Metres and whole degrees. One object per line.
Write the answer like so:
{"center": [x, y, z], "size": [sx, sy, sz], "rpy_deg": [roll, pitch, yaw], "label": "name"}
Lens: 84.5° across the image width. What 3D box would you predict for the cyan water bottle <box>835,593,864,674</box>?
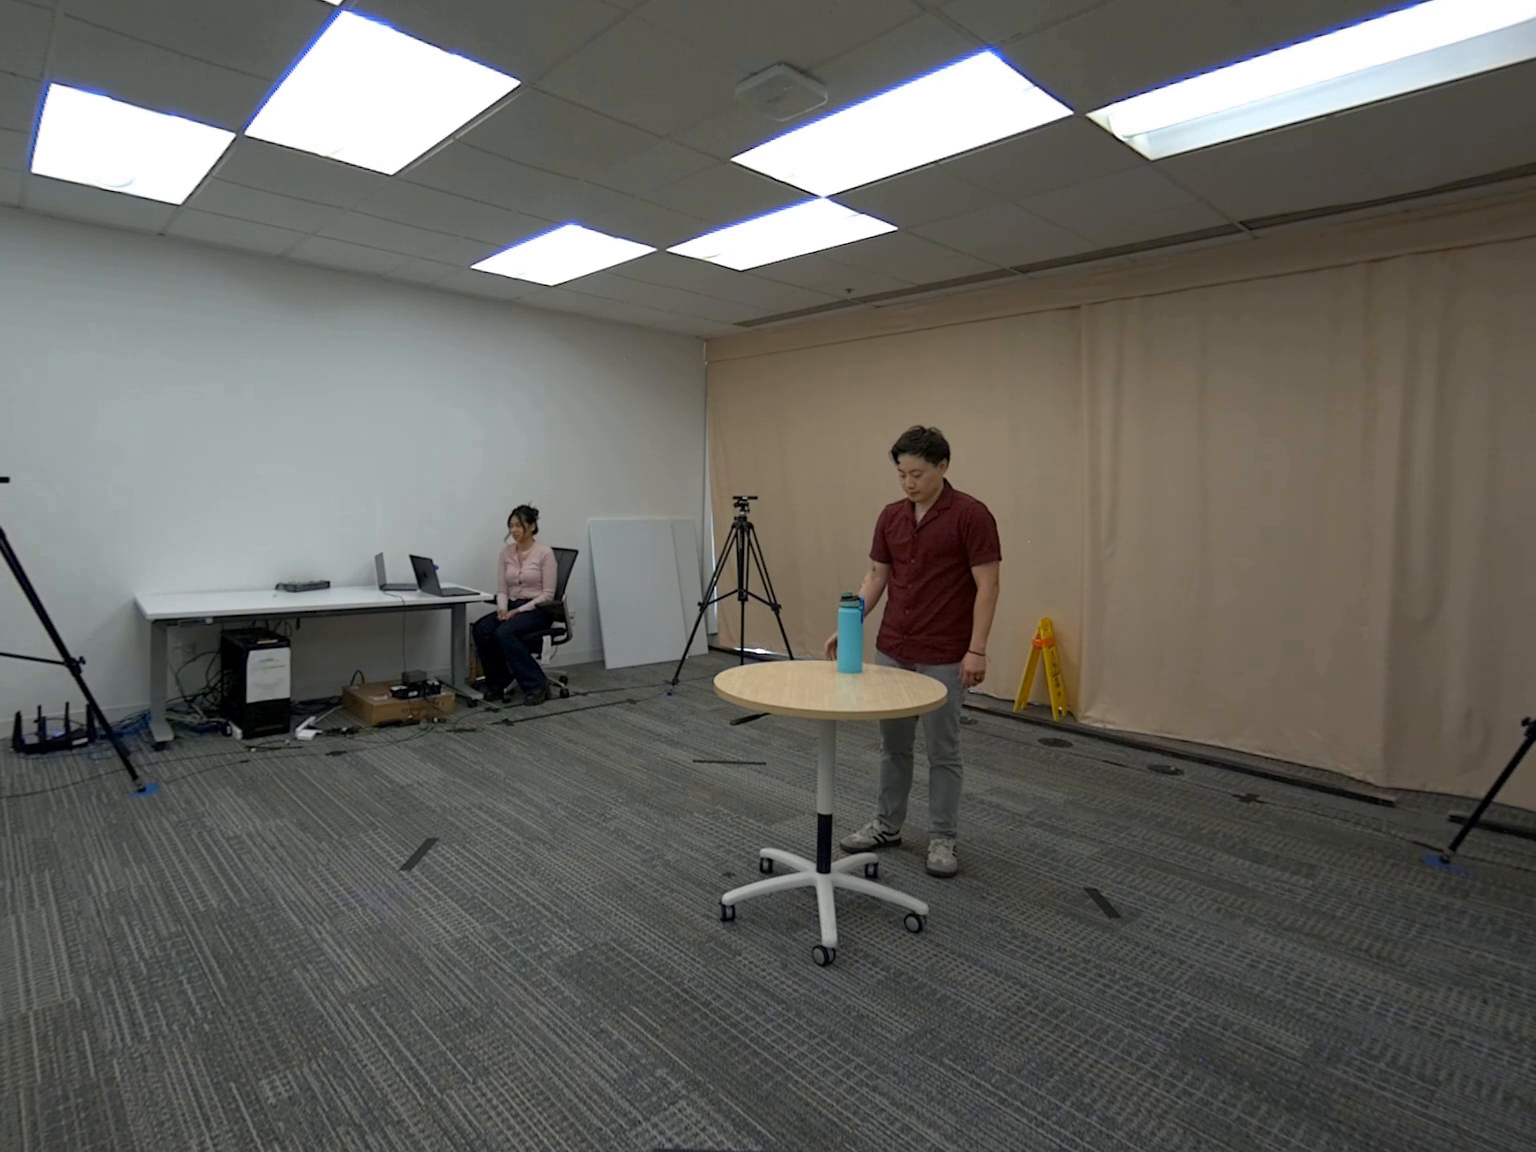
{"center": [0.292, 0.200, 2.993], "size": [0.092, 0.283, 0.092], "rpy_deg": [1, 2, -1], "label": "cyan water bottle"}
